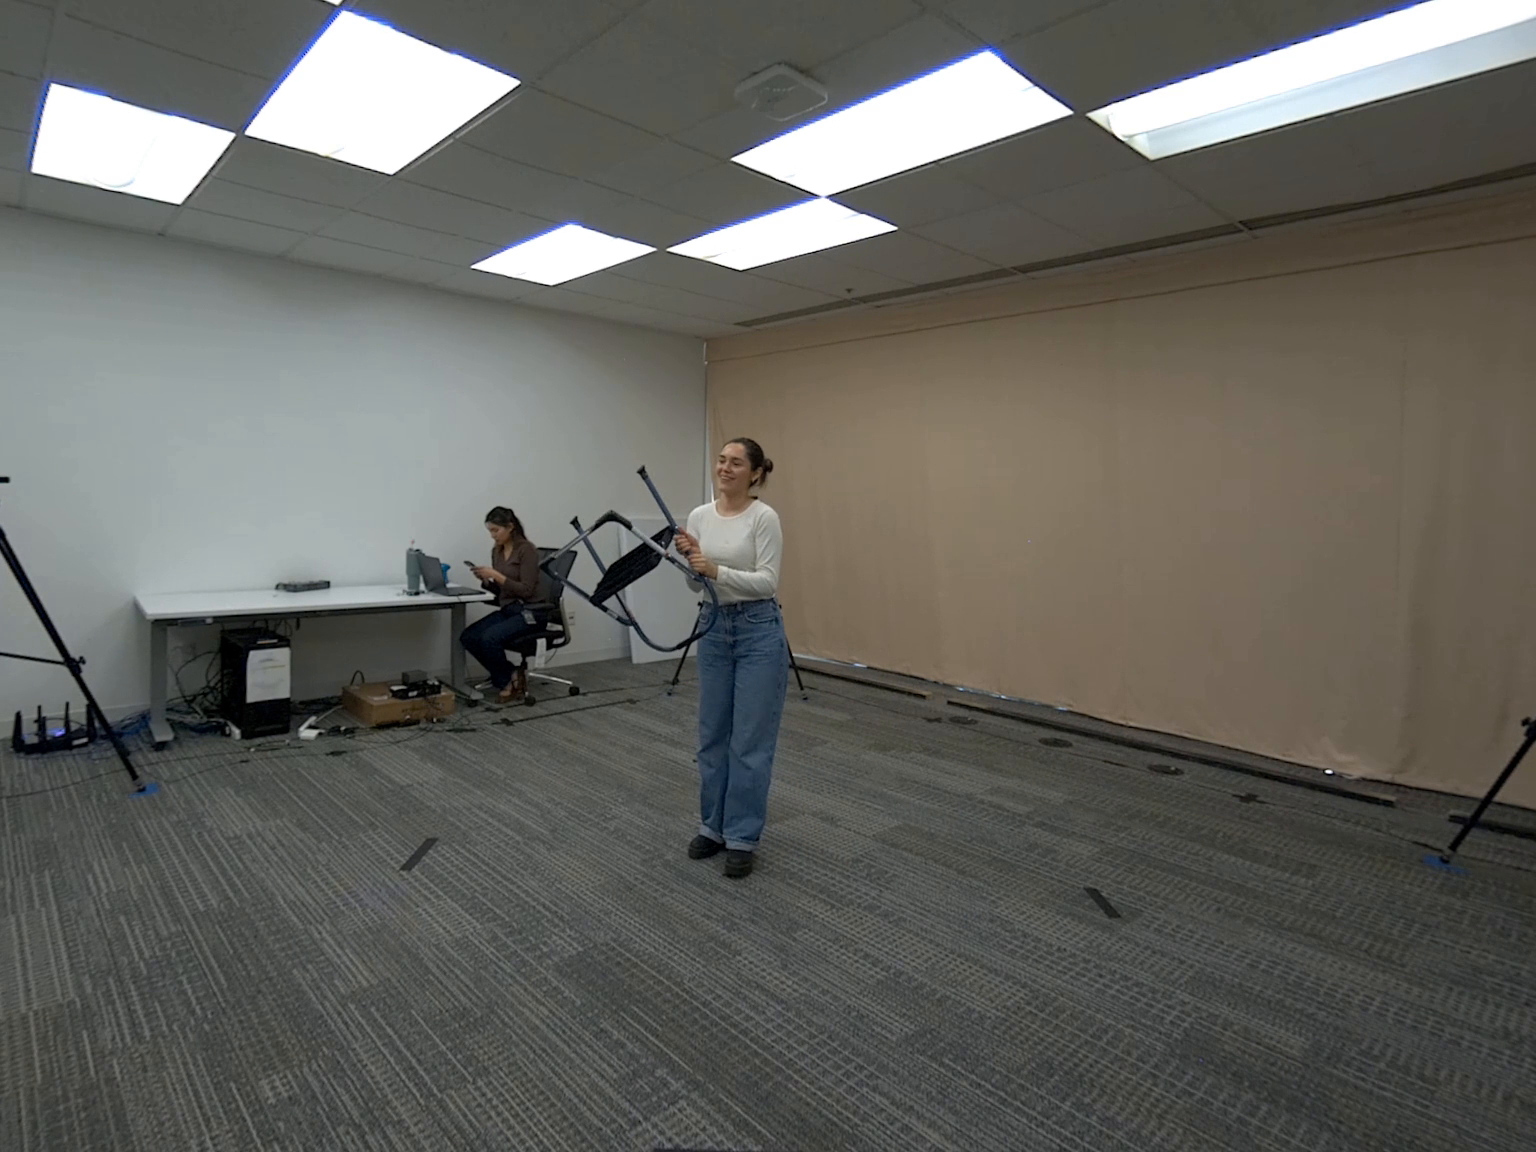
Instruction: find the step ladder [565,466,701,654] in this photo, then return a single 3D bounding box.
[{"bbox_3d":[-0.467,-0.013,3.140,0.434,0.595,0.353,-31,20,31],"label":"step ladder"}]
